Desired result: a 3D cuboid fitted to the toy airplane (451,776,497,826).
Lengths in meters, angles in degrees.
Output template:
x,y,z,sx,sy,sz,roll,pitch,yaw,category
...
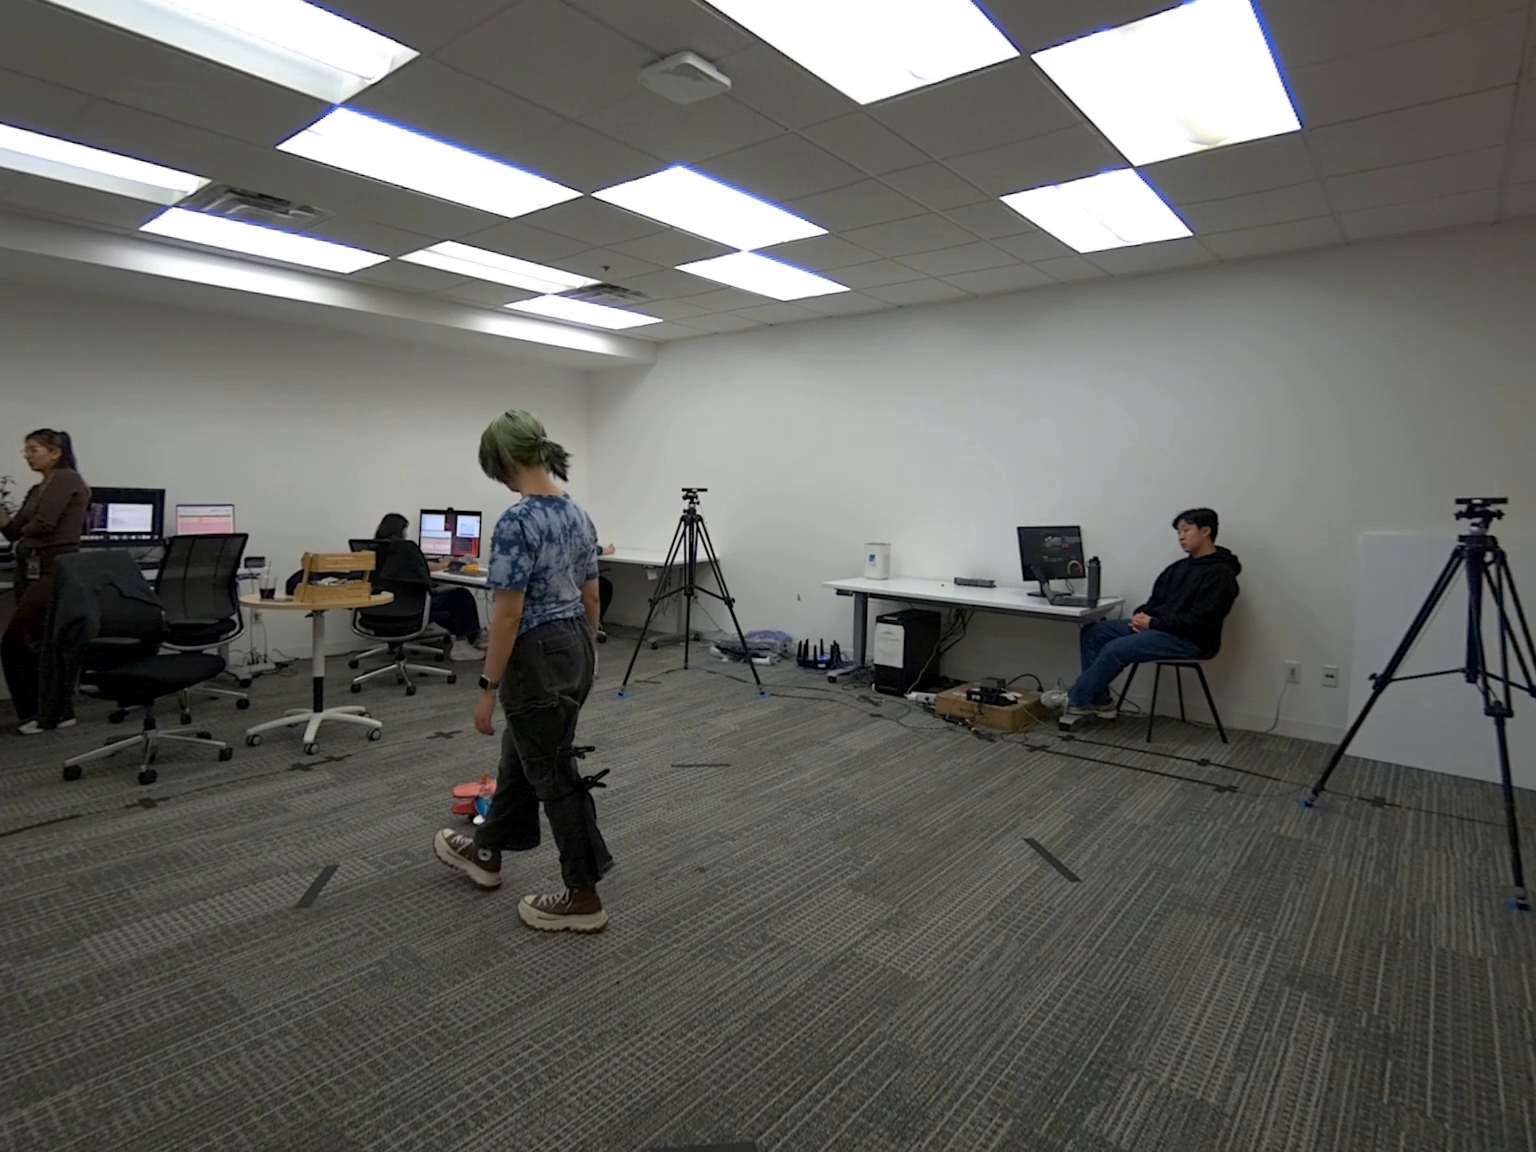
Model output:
x,y,z,sx,sy,sz,roll,pitch,yaw,category
-1.171,0.948,3.508,0.267,0.156,0.243,3,4,37,toy airplane
